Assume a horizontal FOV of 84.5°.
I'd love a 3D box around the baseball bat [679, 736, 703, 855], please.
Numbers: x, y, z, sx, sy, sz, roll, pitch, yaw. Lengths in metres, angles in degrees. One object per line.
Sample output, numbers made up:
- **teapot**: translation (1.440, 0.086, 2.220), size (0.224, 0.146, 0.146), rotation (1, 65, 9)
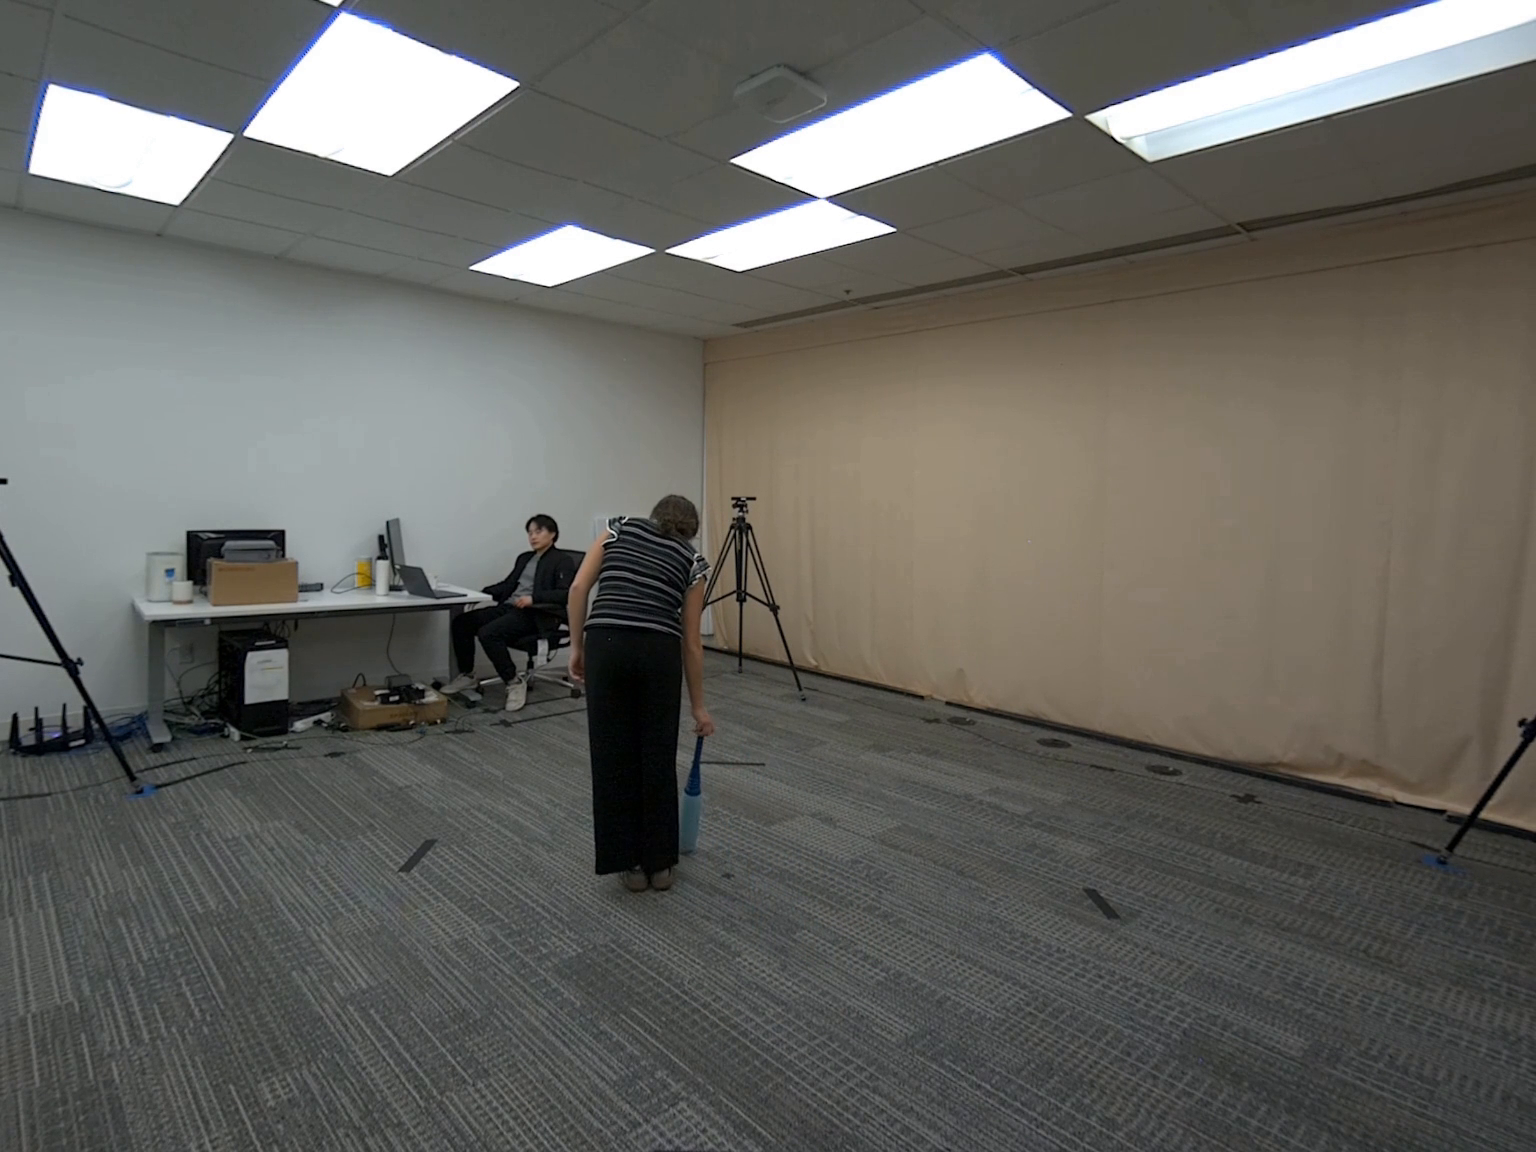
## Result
- **baseball bat**: translation (-0.296, 0.821, 3.223), size (0.089, 0.538, 0.090), rotation (8, 16, -4)
